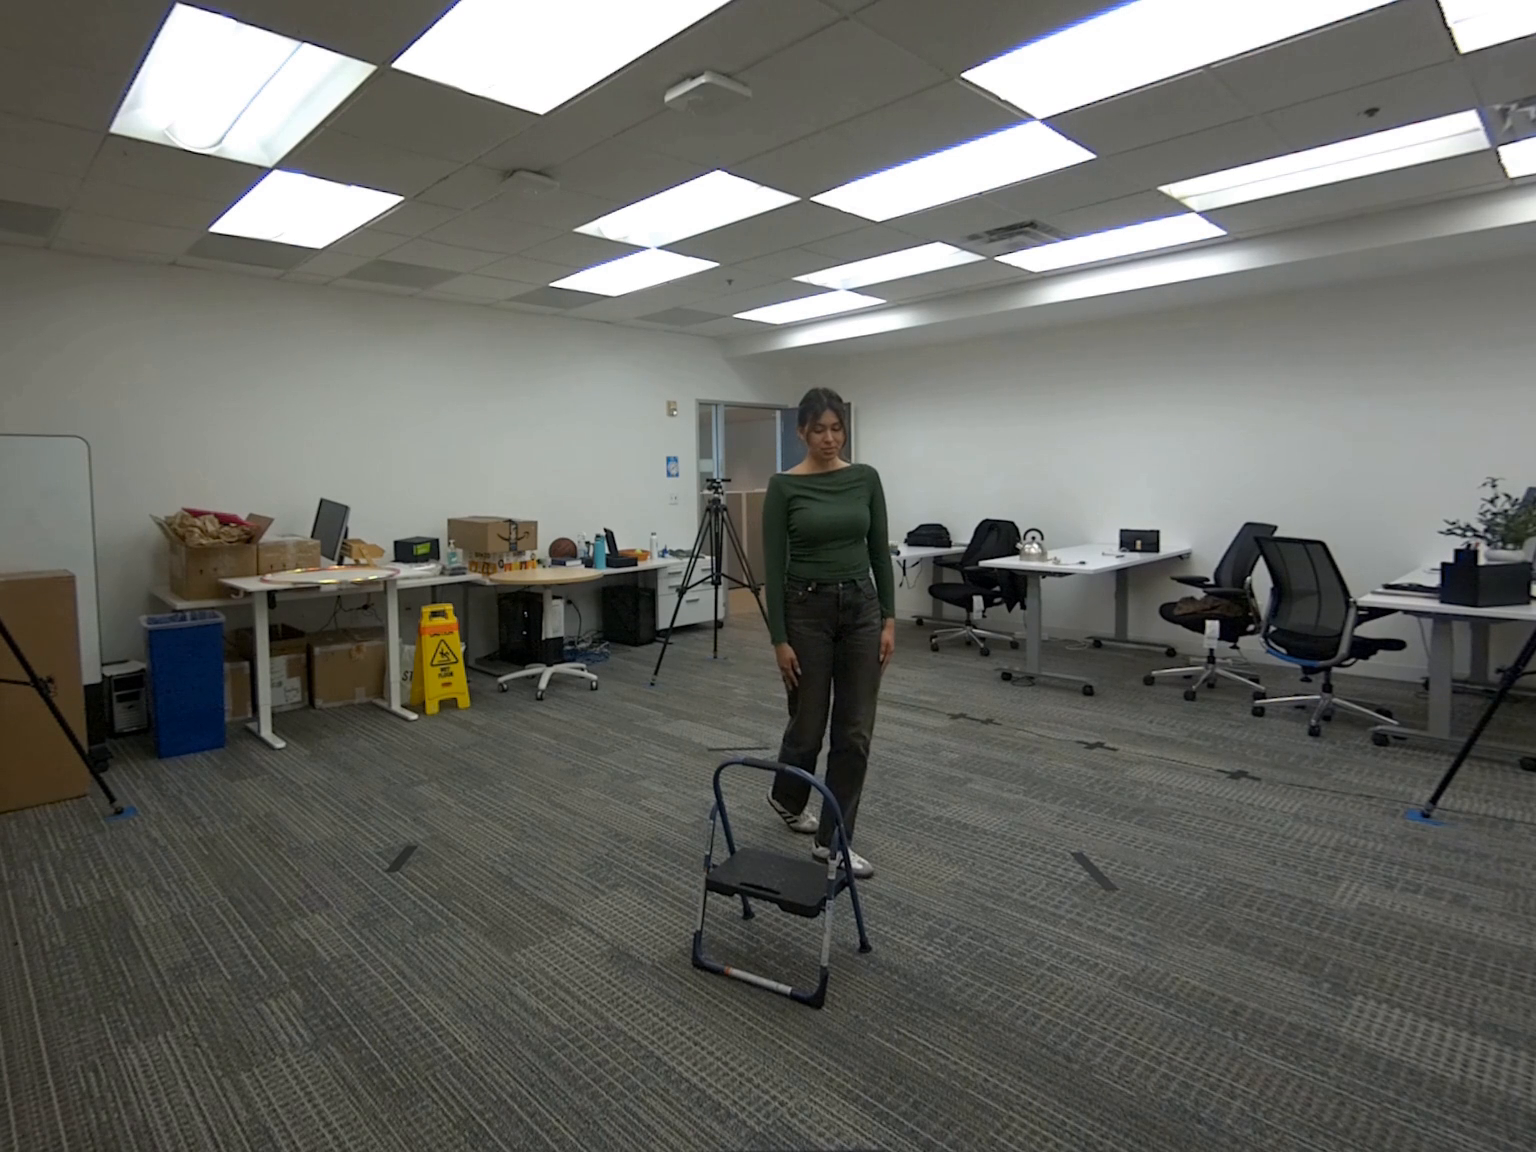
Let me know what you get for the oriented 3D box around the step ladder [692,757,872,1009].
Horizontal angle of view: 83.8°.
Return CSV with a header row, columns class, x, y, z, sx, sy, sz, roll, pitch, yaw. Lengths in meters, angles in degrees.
class,x,y,z,sx,sy,sz,roll,pitch,yaw
step ladder,0.037,0.814,2.478,0.442,0.604,0.341,1,4,29
